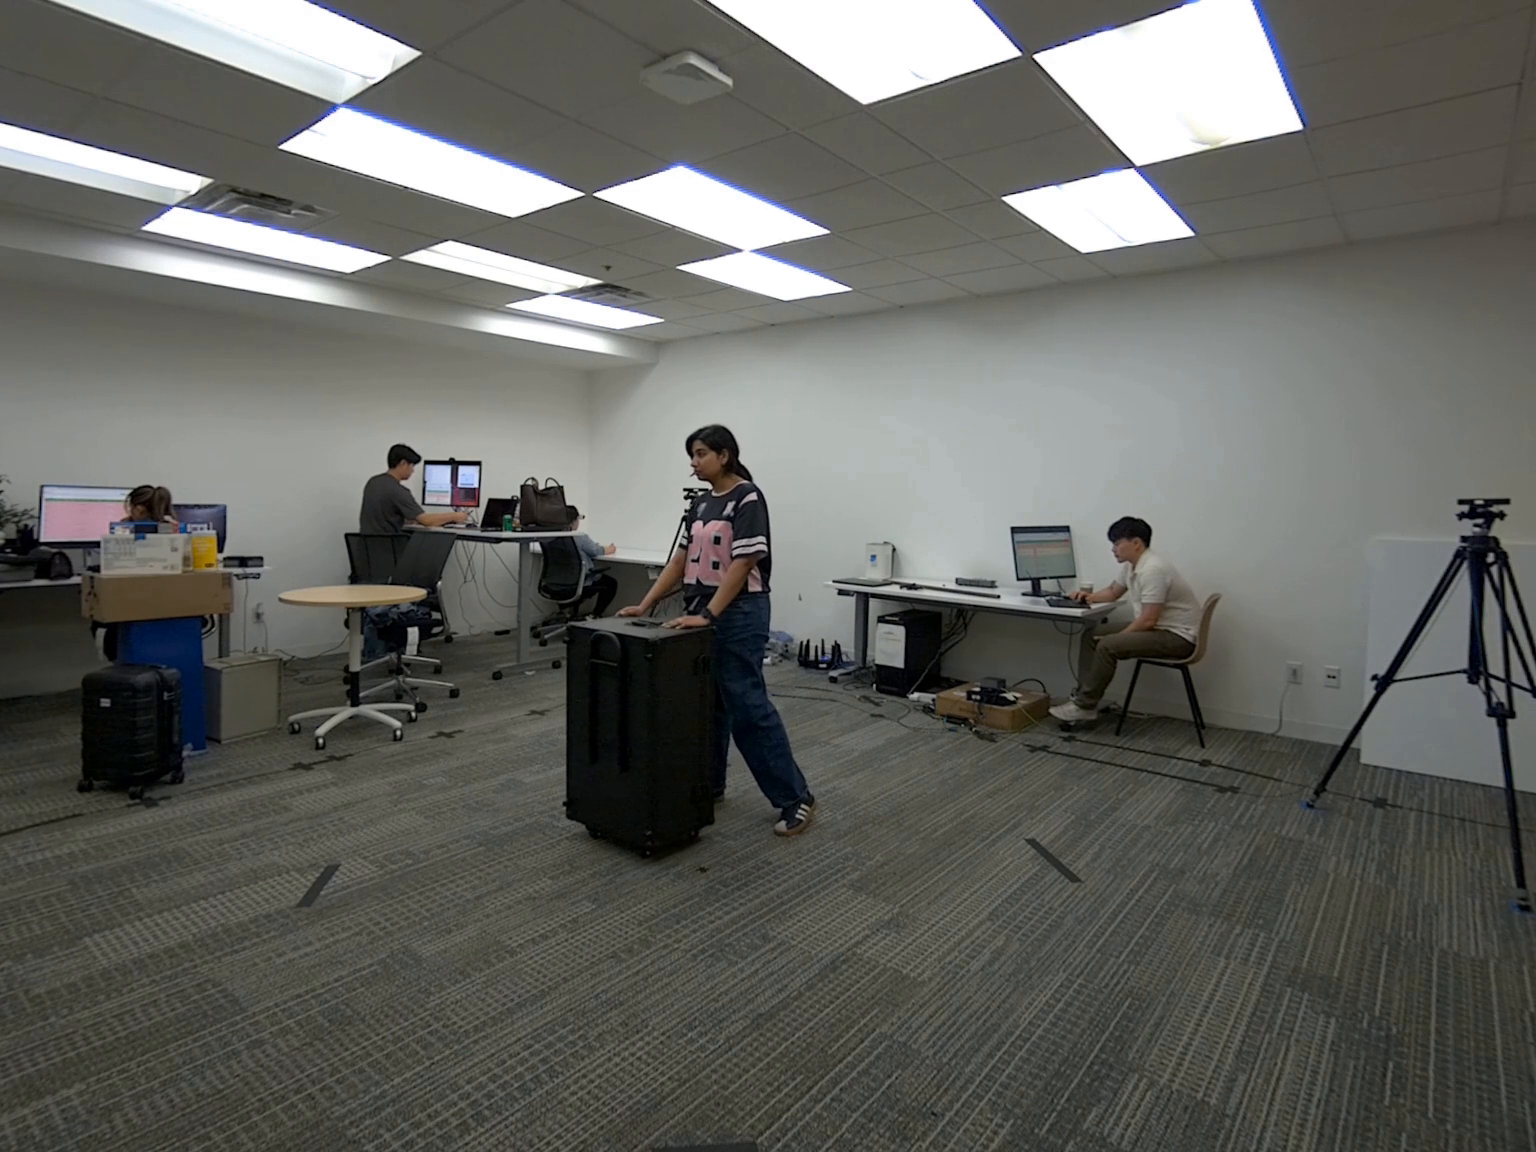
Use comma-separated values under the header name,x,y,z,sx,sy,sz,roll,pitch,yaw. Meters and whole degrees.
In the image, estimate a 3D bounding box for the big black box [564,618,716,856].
name,x,y,z,sx,sy,sz,roll,pitch,yaw
big black box,-0.518,0.623,3.339,0.541,0.866,0.374,3,4,38
